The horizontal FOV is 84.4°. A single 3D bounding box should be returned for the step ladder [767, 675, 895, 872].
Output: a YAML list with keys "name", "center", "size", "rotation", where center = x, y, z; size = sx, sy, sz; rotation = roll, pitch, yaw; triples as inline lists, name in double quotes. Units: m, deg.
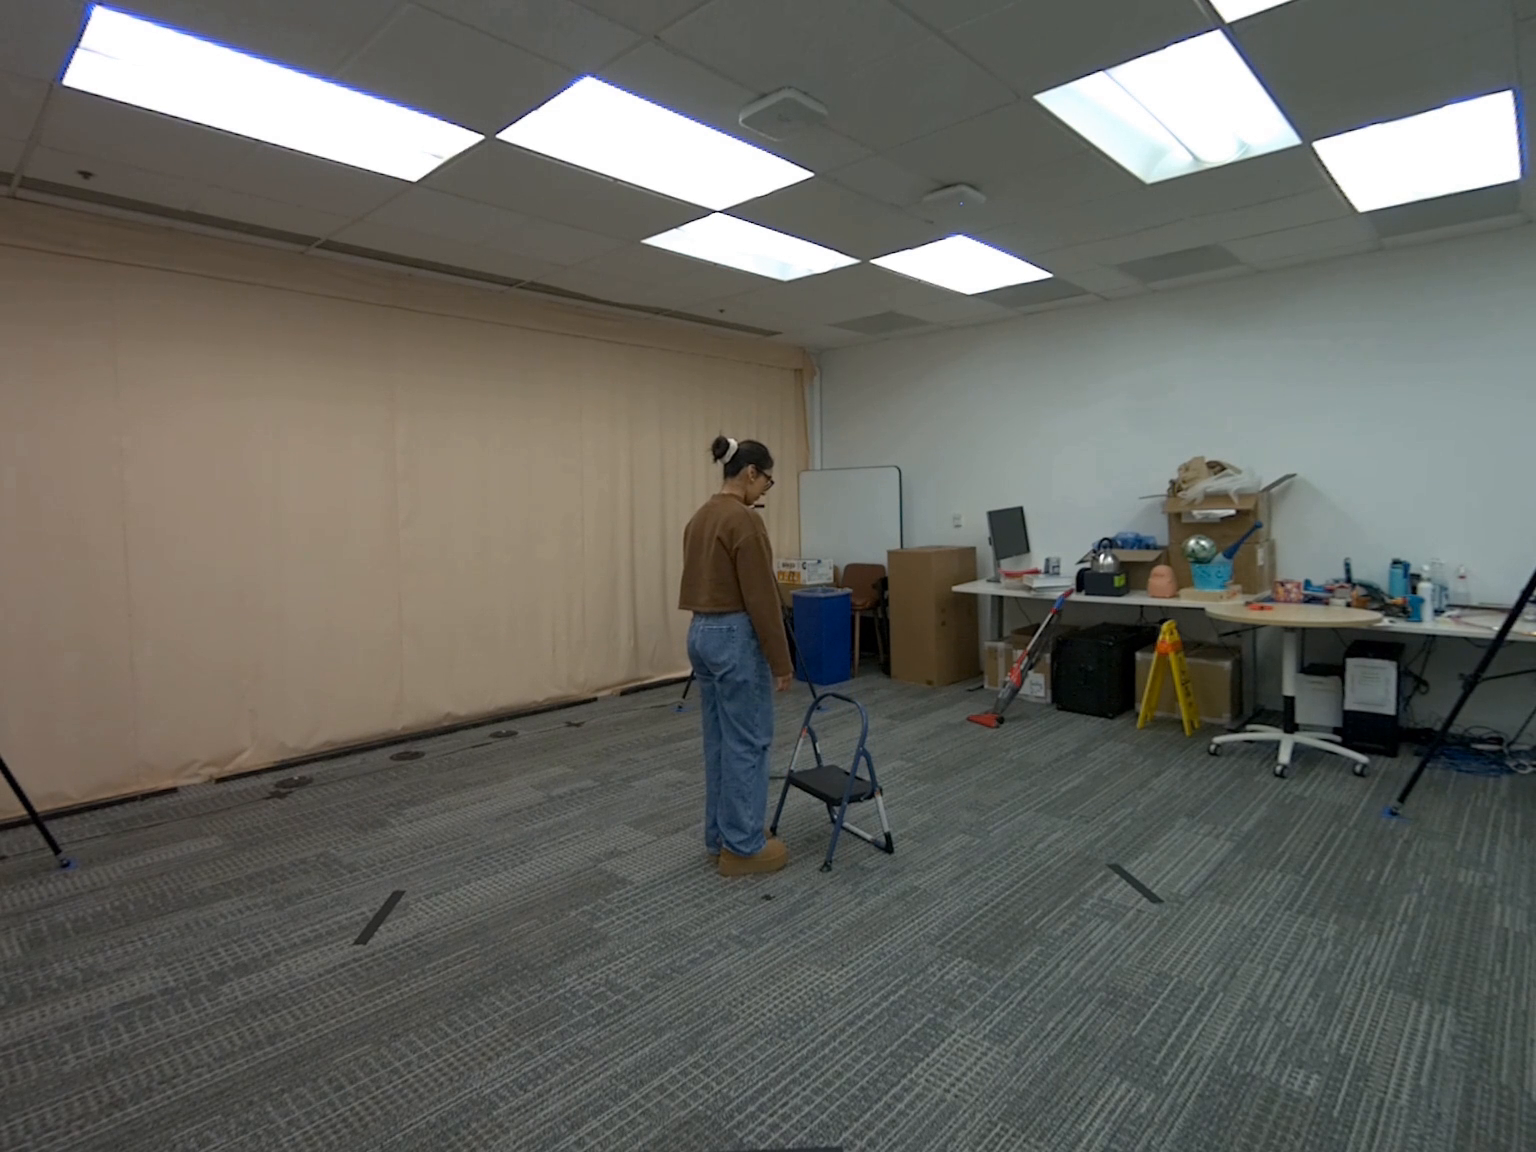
- name: "step ladder"
  center: [0.249, 0.793, 3.426]
  size: [0.340, 0.605, 0.443]
  rotation: [-3, 4, -30]
